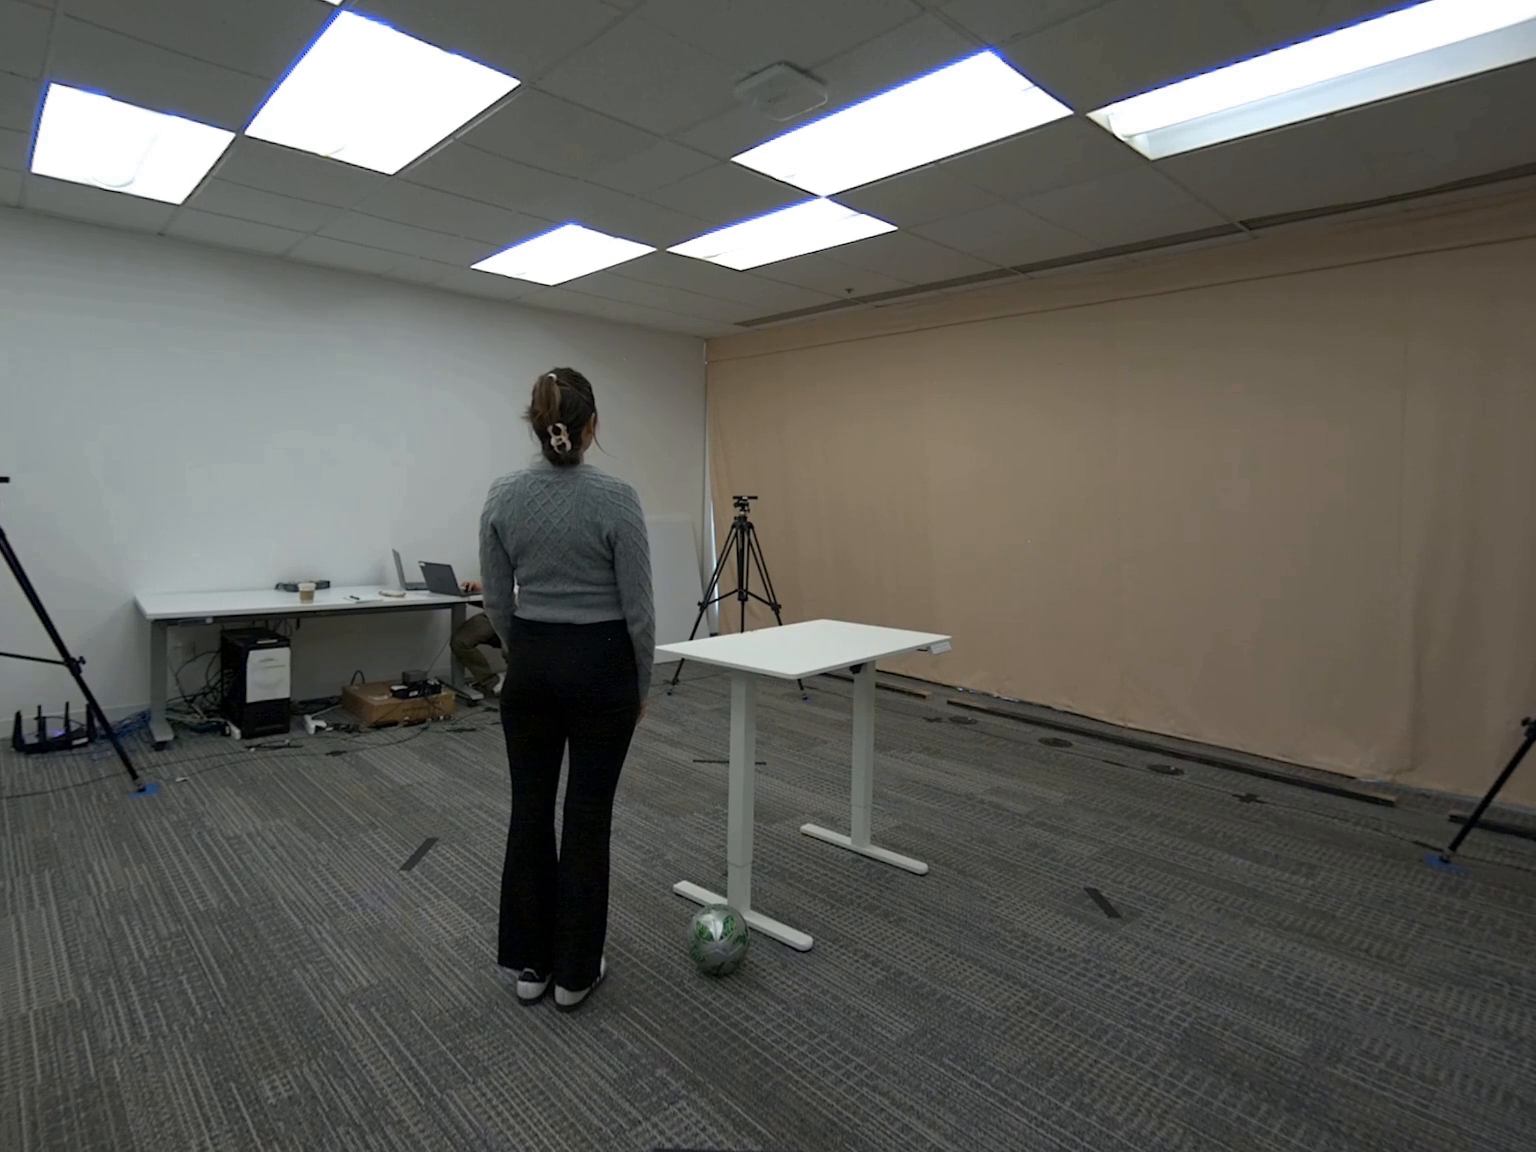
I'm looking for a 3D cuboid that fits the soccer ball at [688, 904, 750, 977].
[{"bbox_3d":[-0.152,1.068,2.463,0.187,0.187,0.188,1,4,-1],"label":"soccer ball"}]
